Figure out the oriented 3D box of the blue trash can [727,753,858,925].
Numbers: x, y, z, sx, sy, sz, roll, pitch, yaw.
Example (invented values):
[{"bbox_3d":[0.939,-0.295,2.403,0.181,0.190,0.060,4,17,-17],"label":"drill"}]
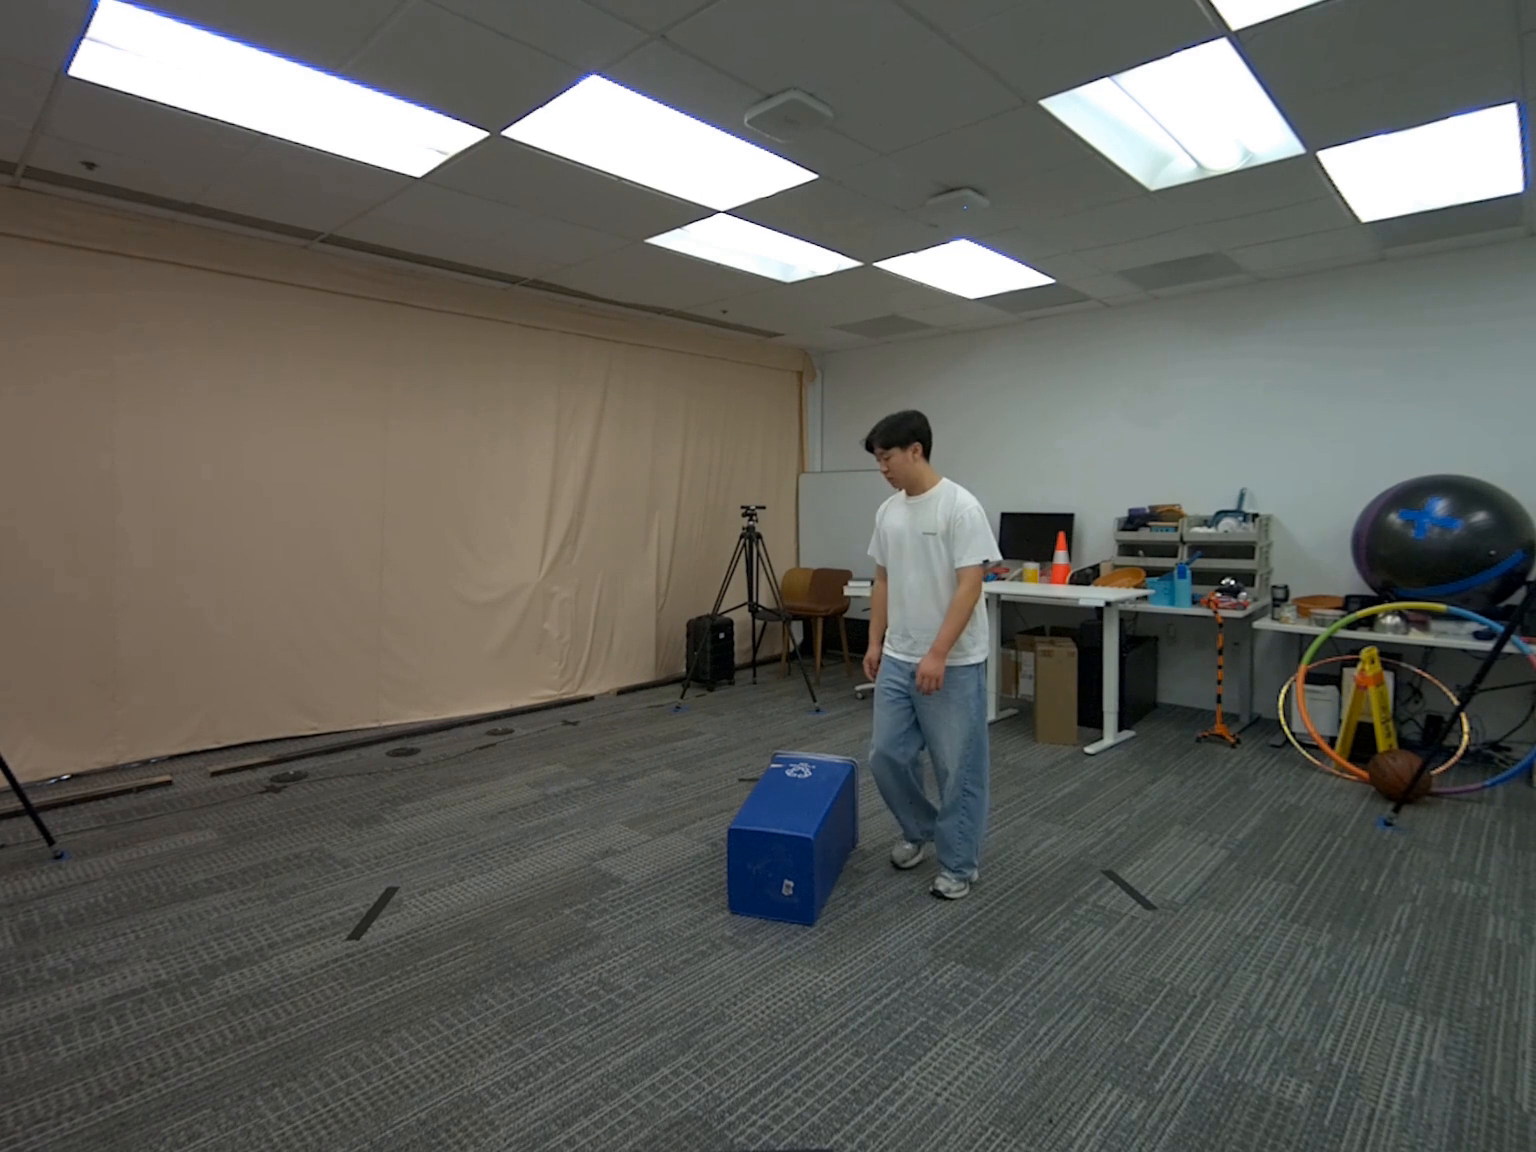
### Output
[{"bbox_3d":[0.109,0.960,3.146,0.381,0.376,0.703,1,7,16],"label":"blue trash can"}]
